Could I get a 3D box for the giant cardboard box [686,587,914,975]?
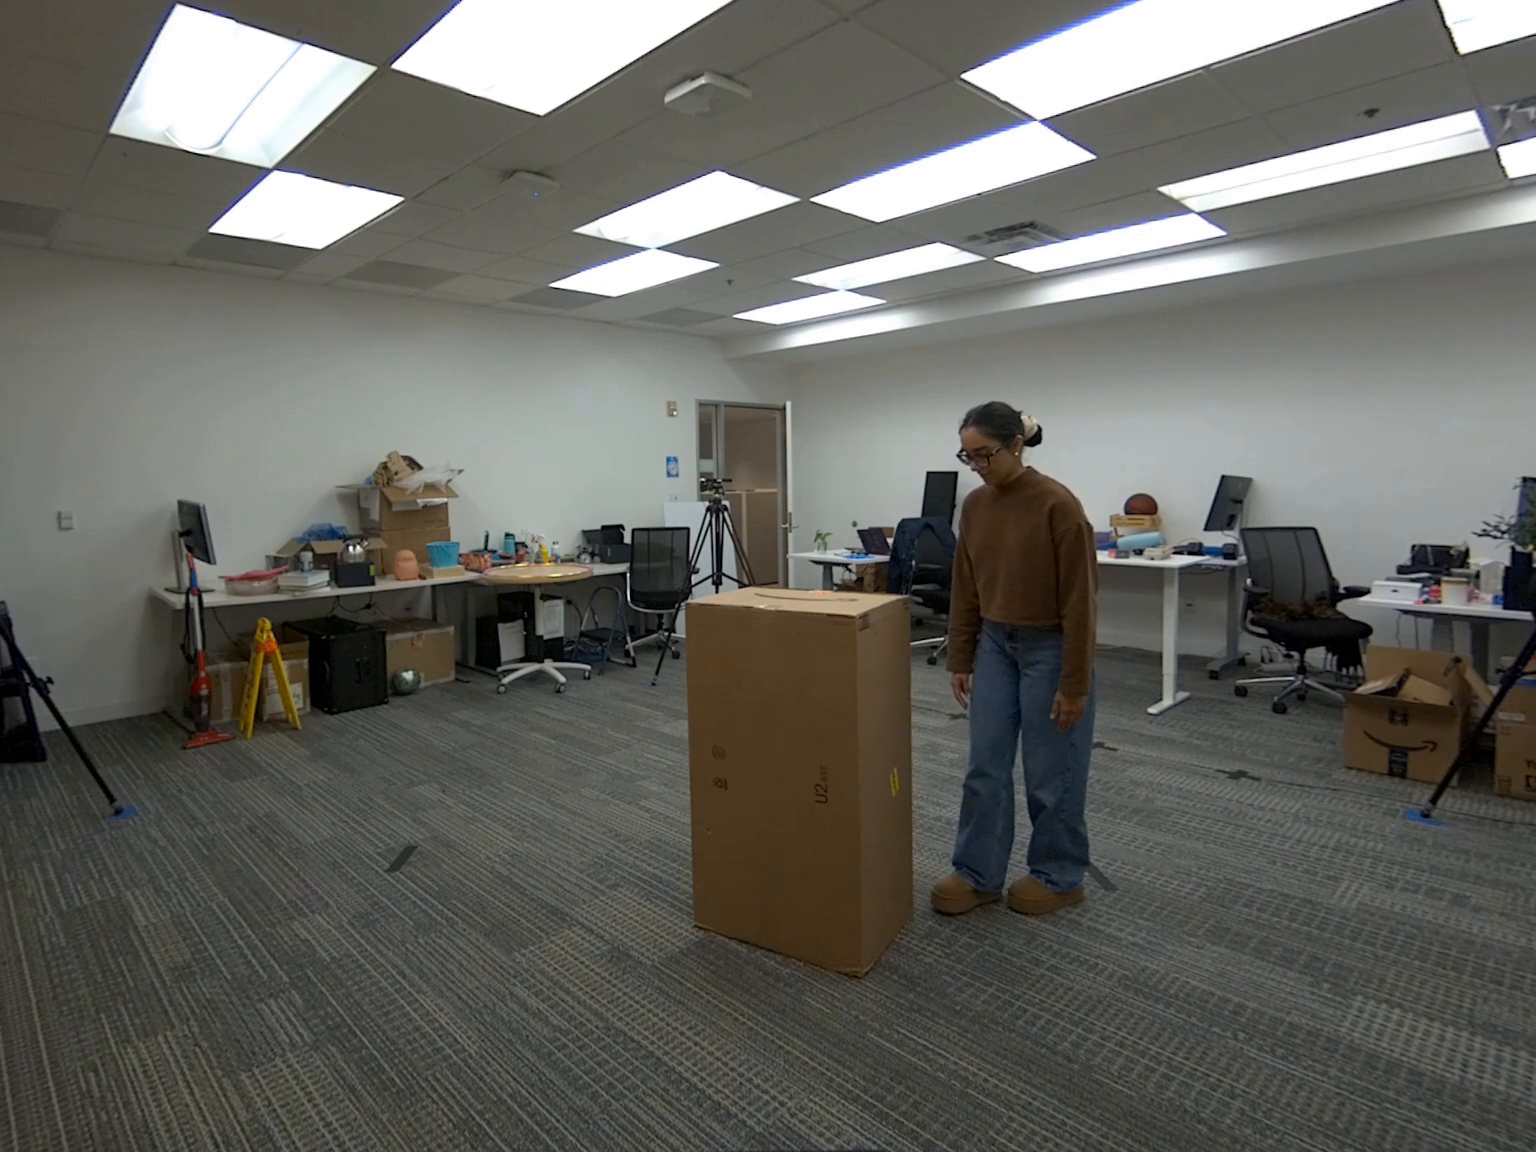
[{"bbox_3d":[0.109,0.584,2.673,0.593,1.023,0.416,1,4,31],"label":"giant cardboard box"}]
